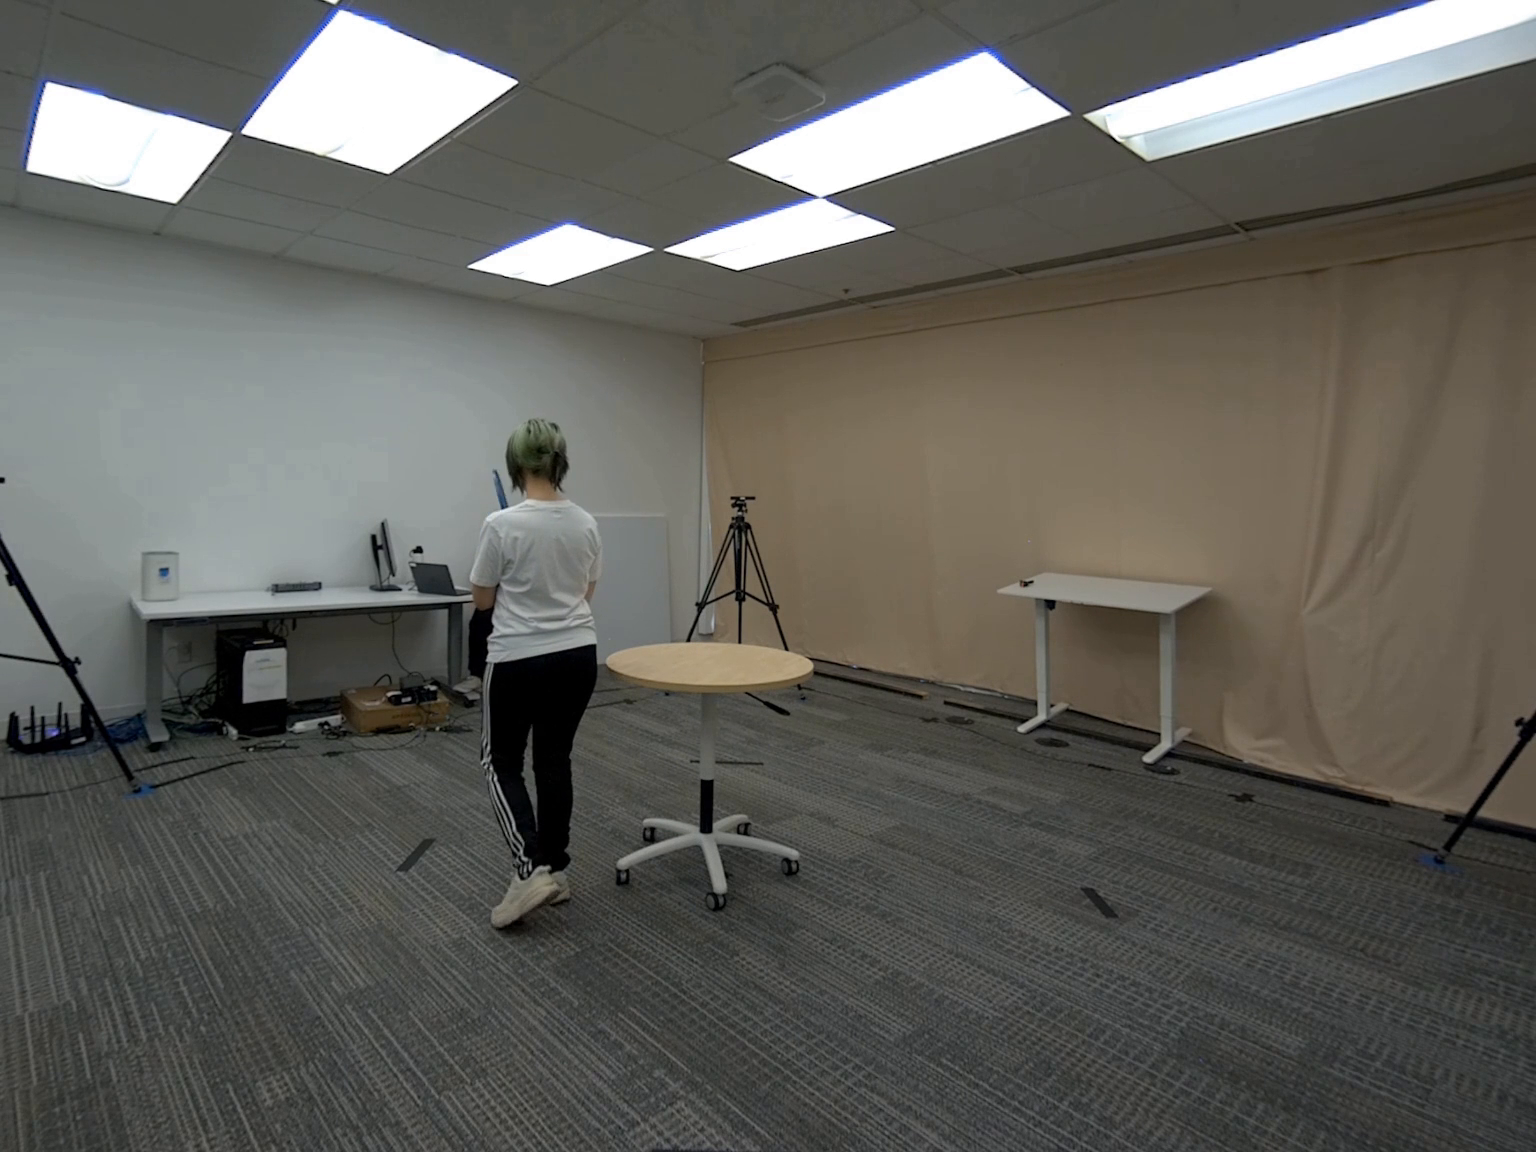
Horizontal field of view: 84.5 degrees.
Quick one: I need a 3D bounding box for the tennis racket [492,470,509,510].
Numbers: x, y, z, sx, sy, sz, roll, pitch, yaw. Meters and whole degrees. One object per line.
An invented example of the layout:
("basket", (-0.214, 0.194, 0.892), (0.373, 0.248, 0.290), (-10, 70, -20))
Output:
("tennis racket", (-0.983, -0.199, 3.135), (0.031, 0.441, 0.210), (-12, -22, -9))
